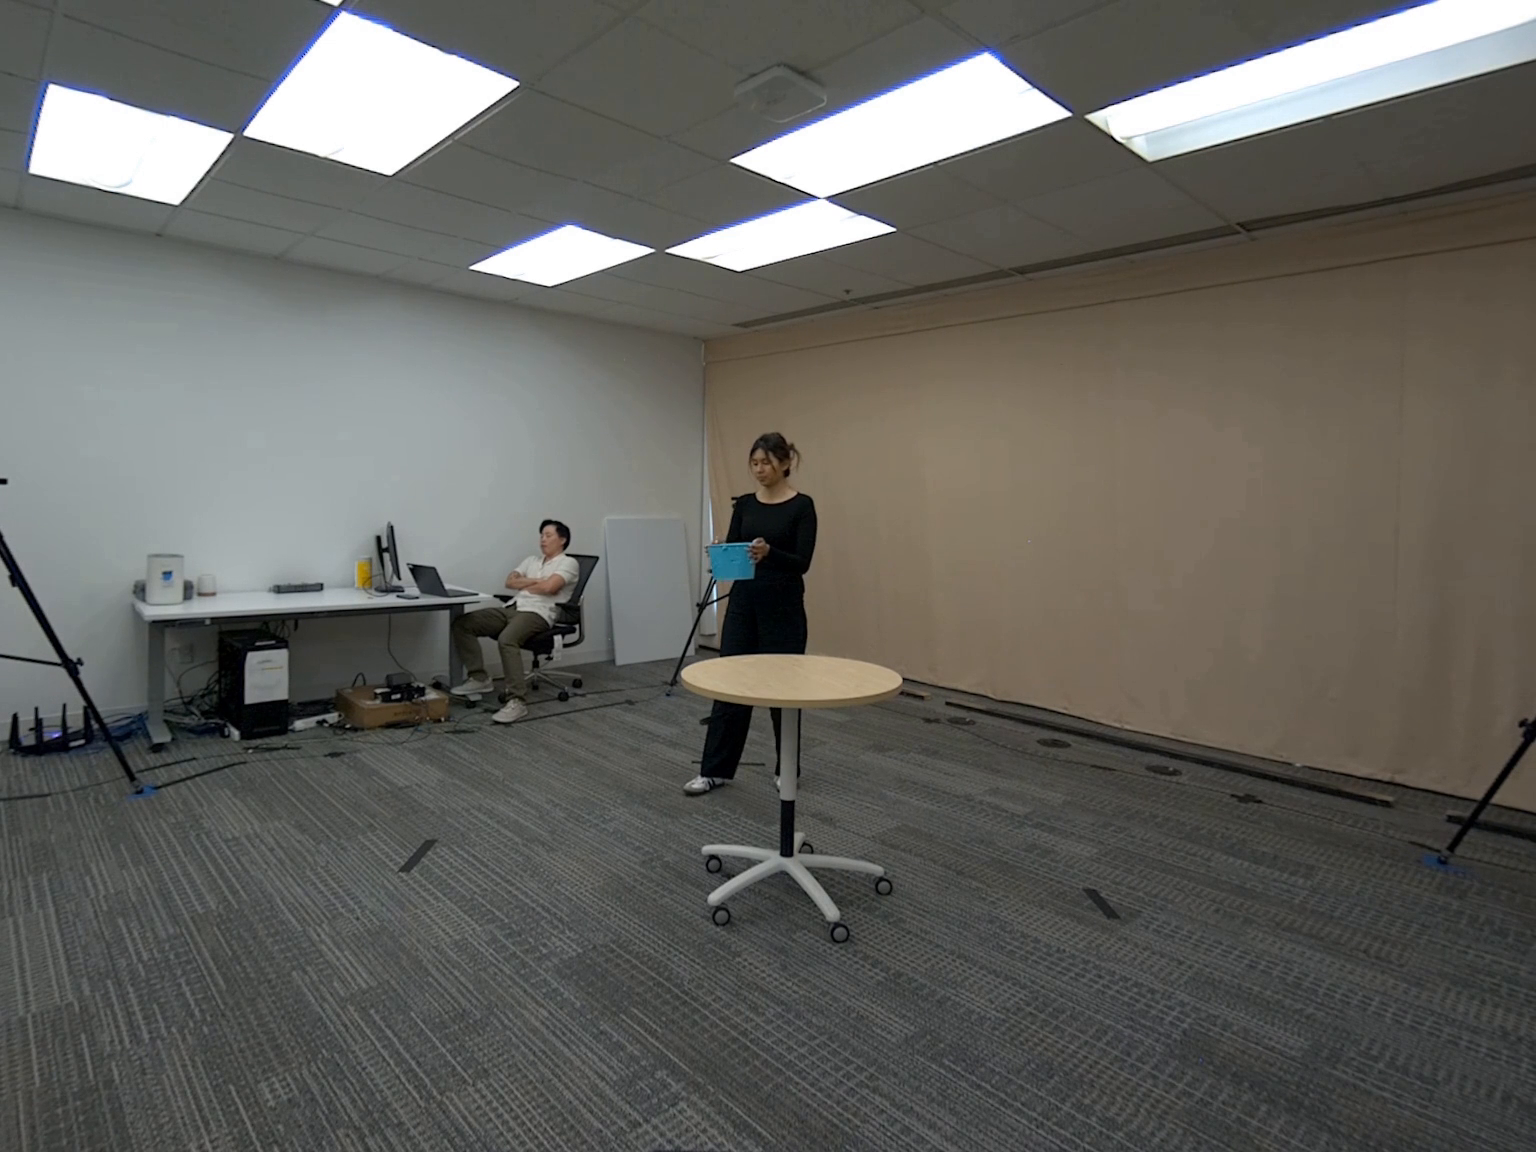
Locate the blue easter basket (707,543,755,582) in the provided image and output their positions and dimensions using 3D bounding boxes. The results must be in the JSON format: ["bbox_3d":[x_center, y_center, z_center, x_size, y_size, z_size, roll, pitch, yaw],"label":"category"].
[{"bbox_3d":[-0.157,-0.063,3.721,0.243,0.156,0.244,0,2,-1],"label":"blue easter basket"}]
